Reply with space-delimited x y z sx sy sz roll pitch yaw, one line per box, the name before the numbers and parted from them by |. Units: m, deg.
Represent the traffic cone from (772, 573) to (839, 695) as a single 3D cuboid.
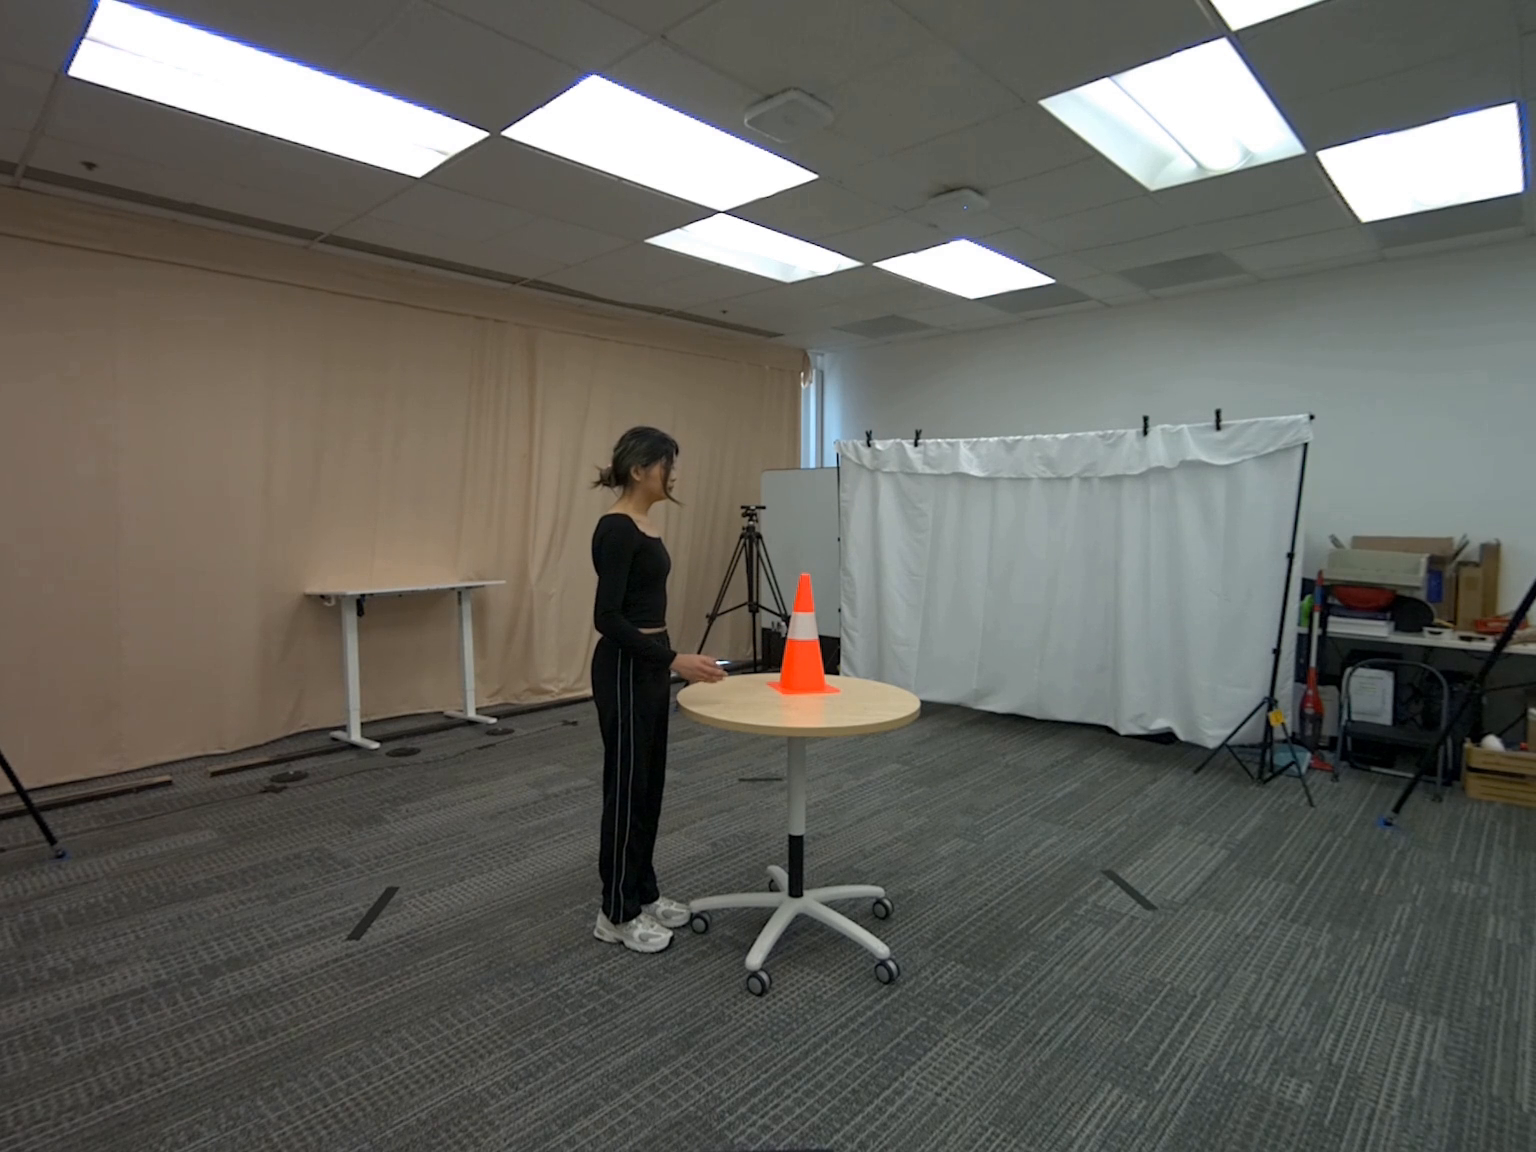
traffic cone | 0.119 0.189 2.797 0.200 0.383 0.209 0 3 -17
